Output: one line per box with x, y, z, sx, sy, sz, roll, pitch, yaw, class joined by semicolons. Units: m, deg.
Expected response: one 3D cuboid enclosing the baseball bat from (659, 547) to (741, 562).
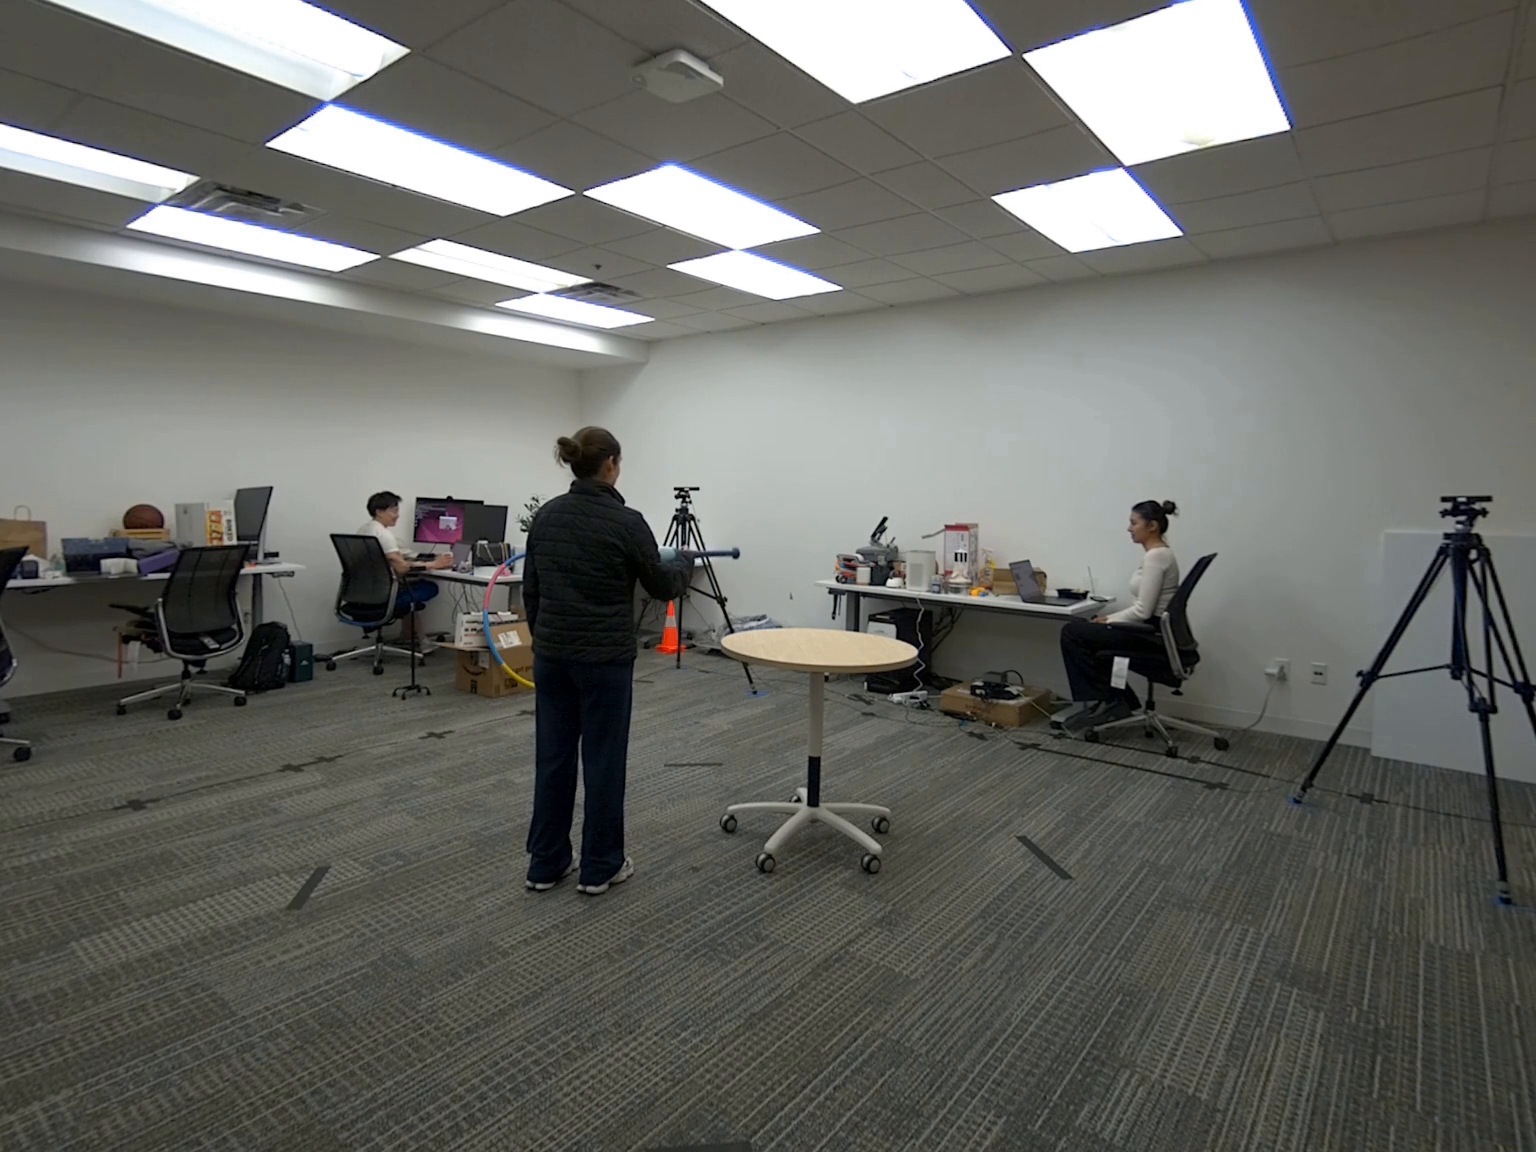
-0.325;-0.082;3.335;0.530;0.088;0.091;-4;6;-27;baseball bat
